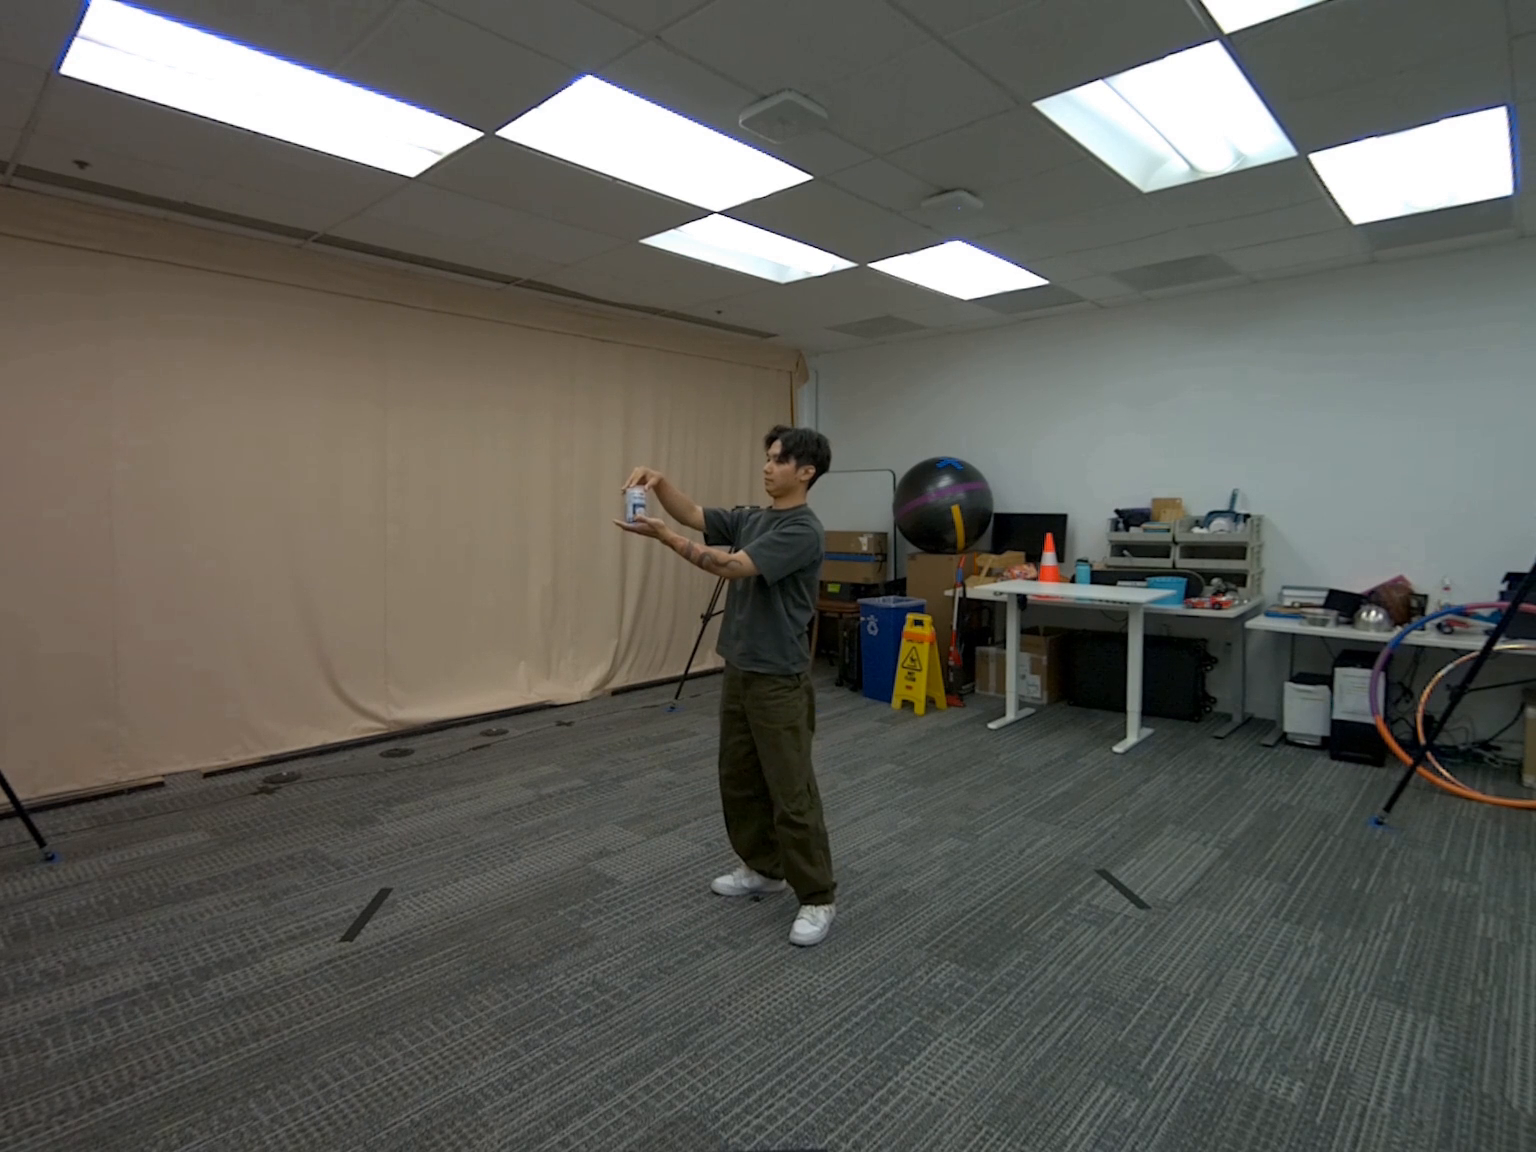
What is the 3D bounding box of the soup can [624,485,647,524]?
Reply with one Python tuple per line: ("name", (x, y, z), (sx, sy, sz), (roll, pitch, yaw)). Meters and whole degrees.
("soup can", (-0.429, -0.227, 2.757), (0.067, 0.122, 0.067), (2, -2, -2))
